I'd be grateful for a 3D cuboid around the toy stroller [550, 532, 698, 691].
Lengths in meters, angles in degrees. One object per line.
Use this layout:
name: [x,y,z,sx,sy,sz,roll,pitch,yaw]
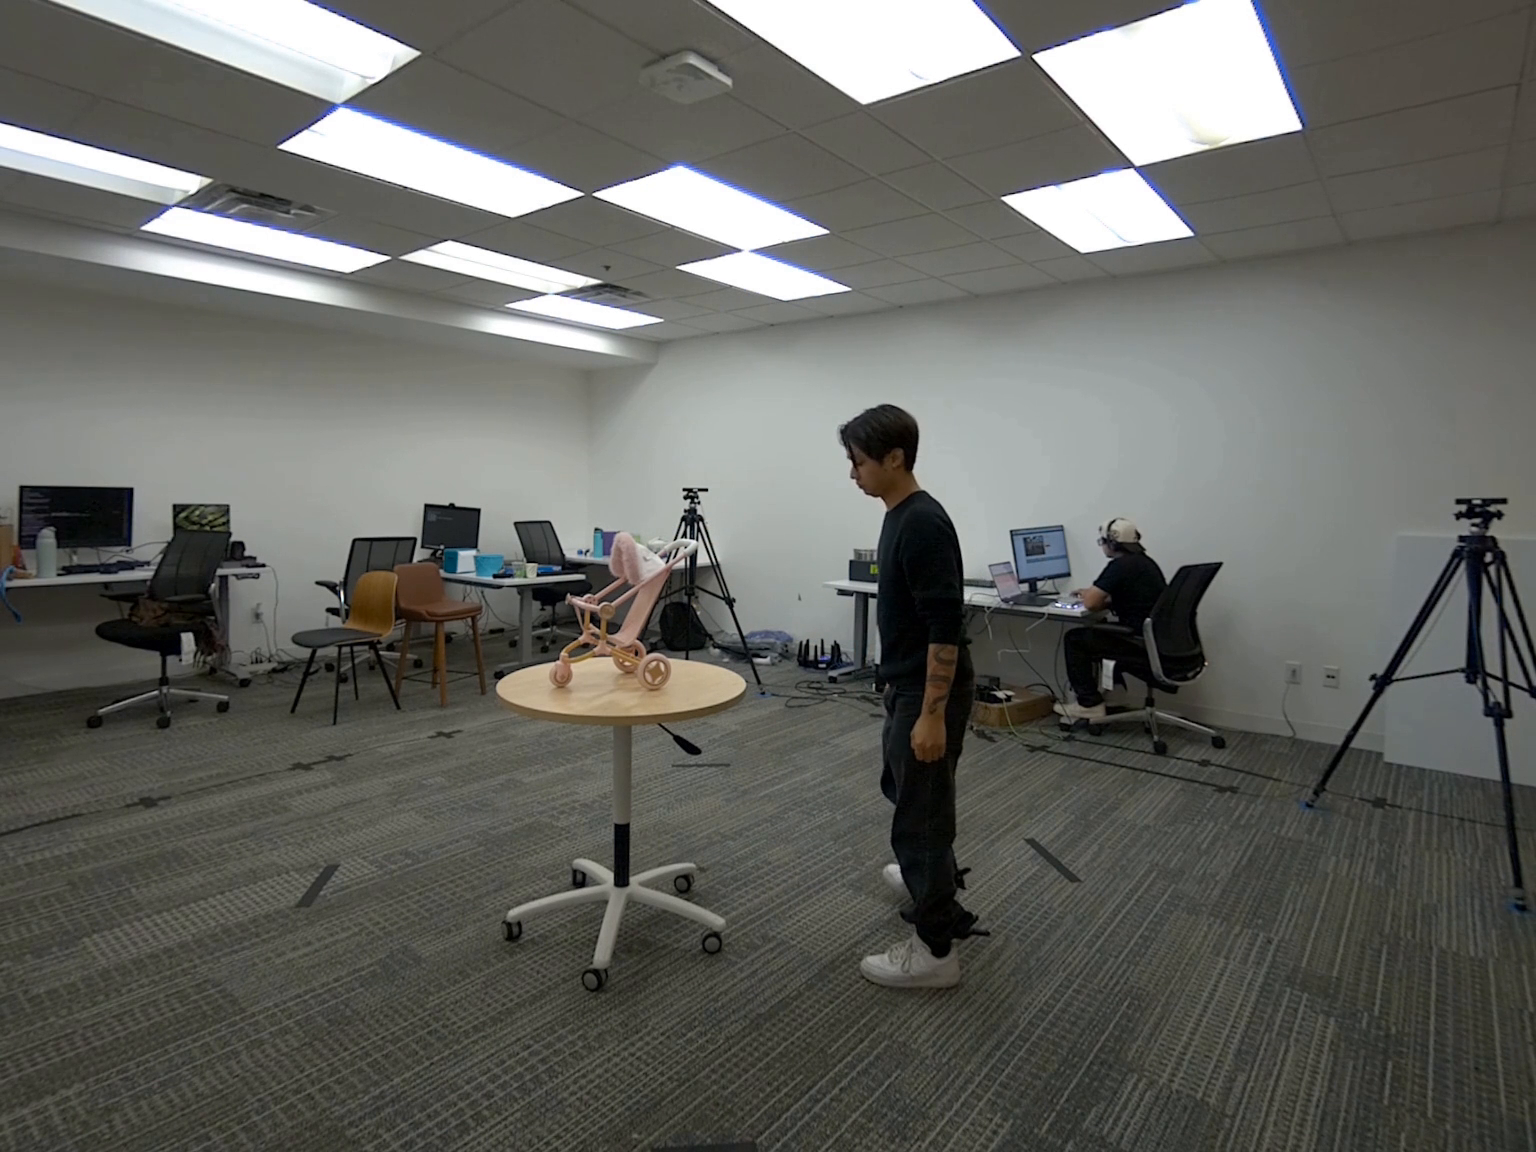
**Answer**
toy stroller: [-0.468,0.104,2.626,0.333,0.535,0.288,15,-1,-20]
